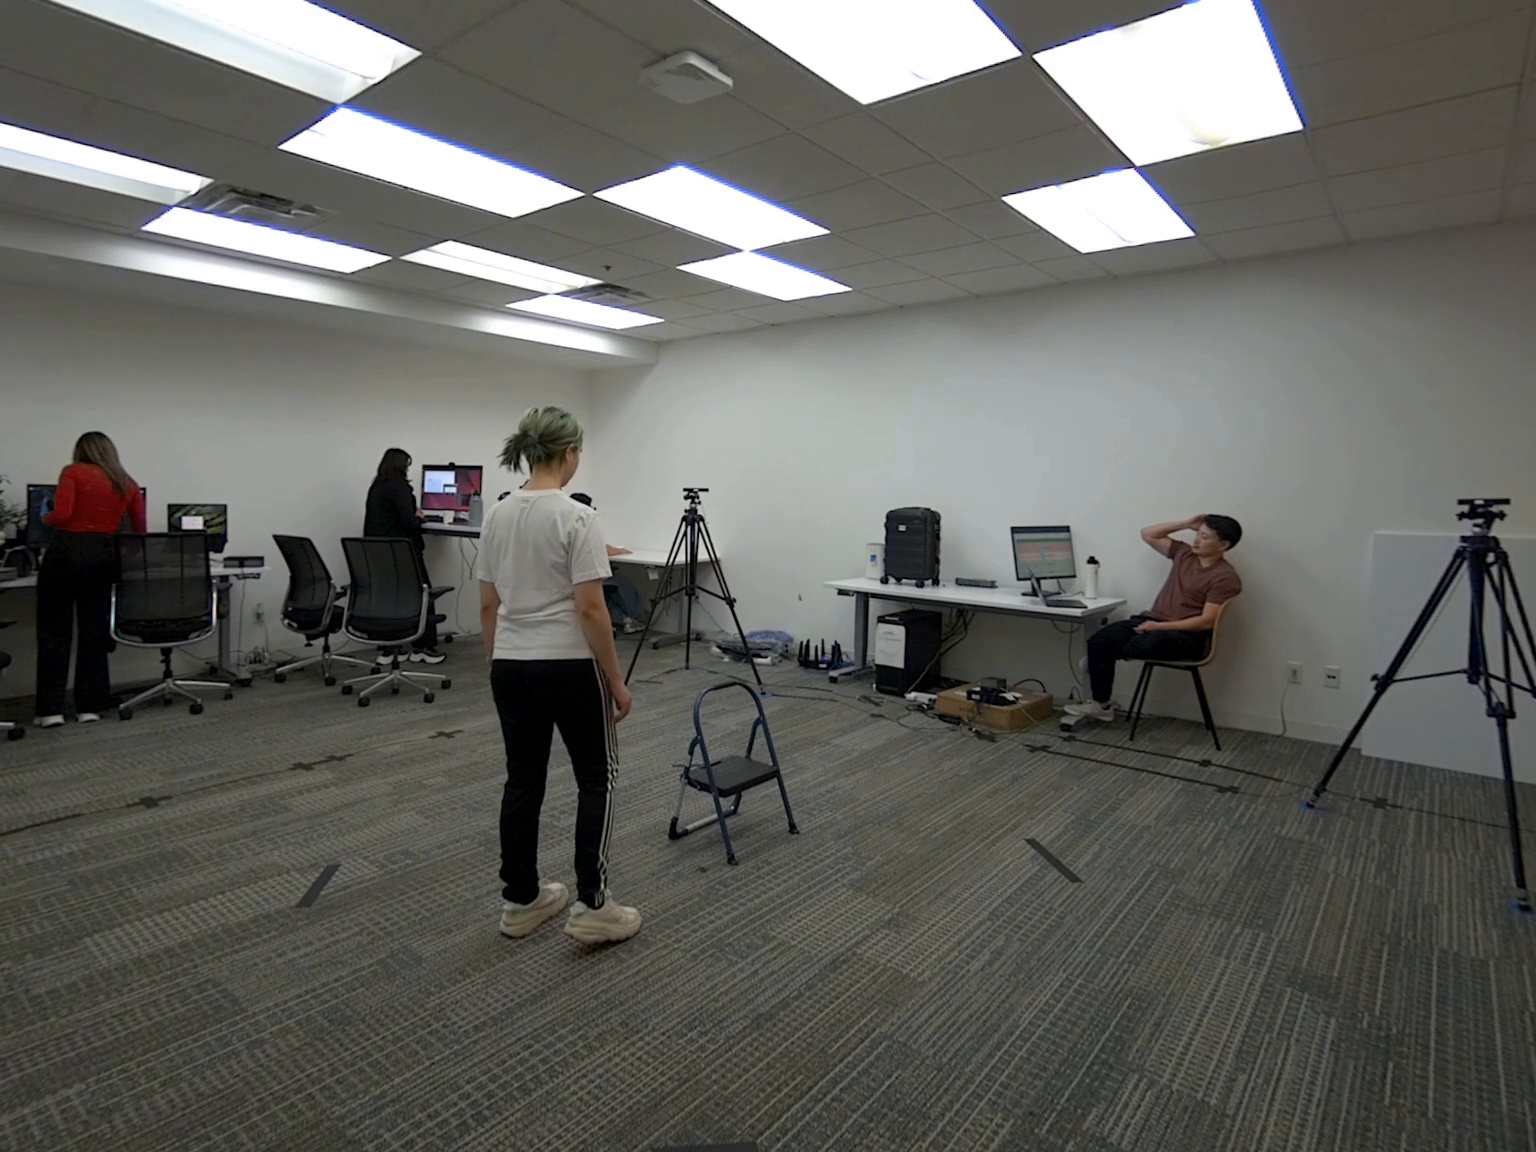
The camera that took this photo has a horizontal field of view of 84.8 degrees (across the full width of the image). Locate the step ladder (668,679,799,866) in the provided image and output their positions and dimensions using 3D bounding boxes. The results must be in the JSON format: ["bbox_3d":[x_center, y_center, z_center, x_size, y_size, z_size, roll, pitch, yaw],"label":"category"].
[{"bbox_3d":[-0.140,0.740,3.398,0.361,0.604,0.418,4,4,38],"label":"step ladder"}]
